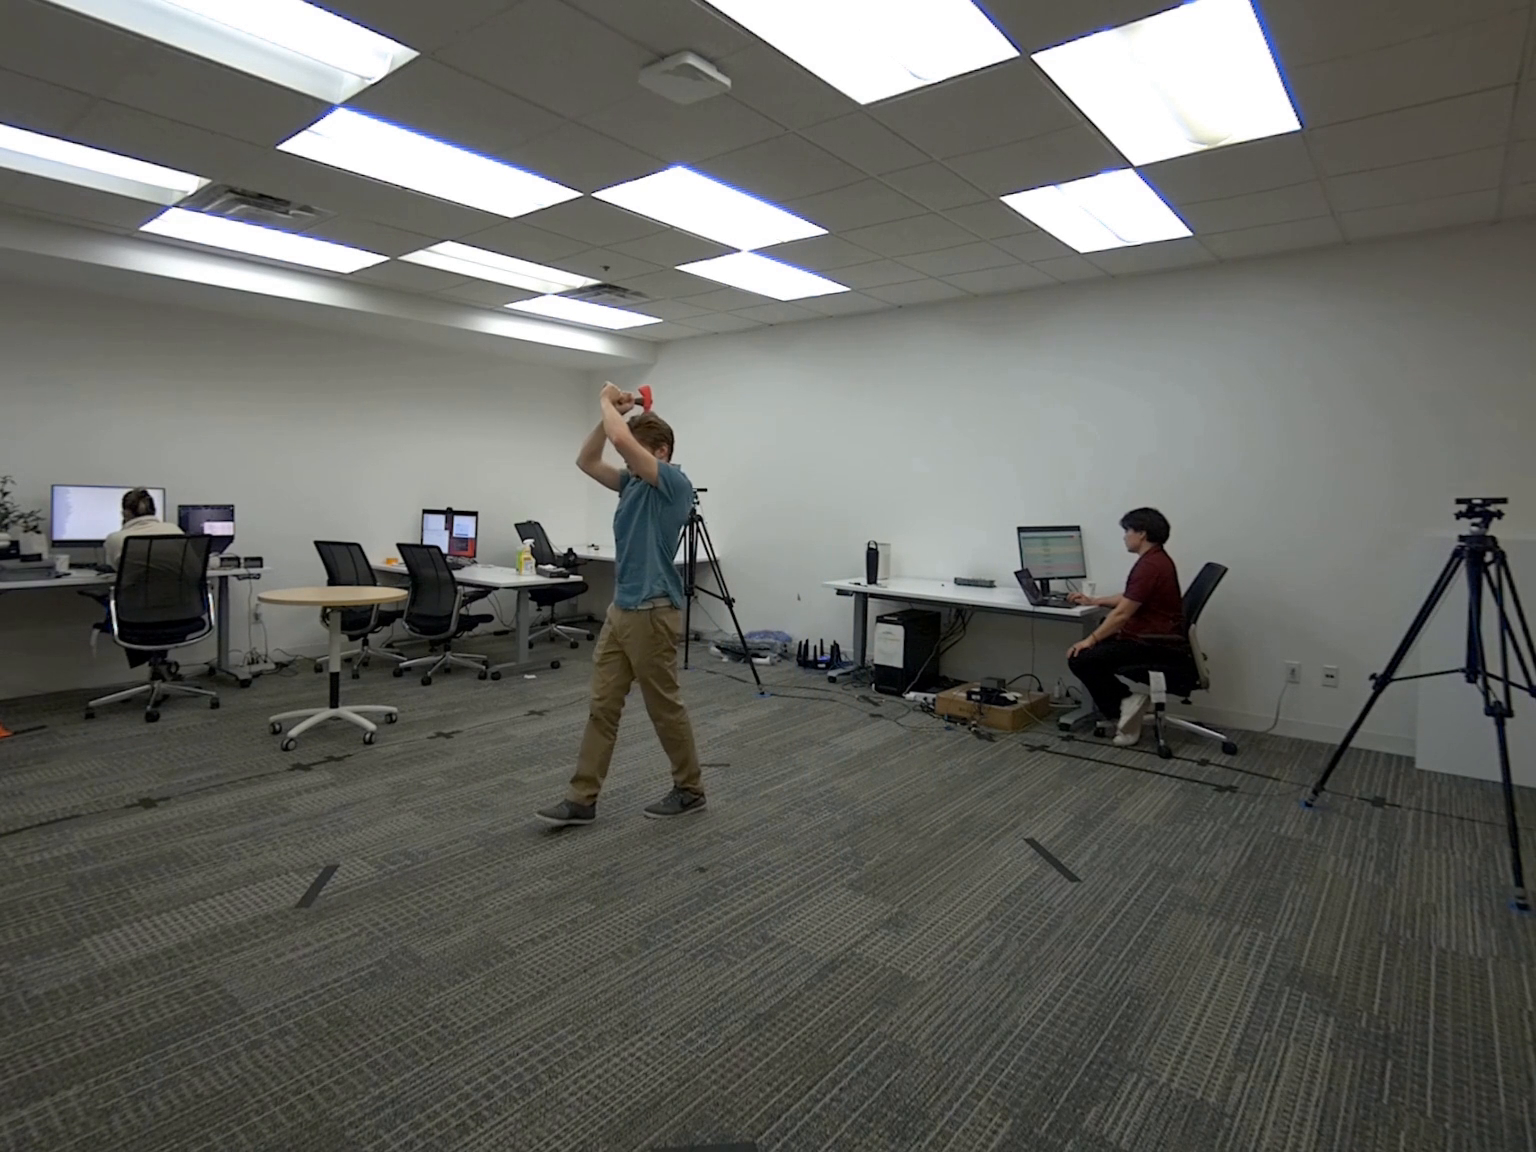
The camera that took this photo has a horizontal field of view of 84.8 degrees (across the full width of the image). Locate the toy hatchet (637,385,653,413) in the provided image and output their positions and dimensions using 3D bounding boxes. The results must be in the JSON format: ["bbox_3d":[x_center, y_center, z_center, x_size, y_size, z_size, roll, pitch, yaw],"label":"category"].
[{"bbox_3d":[-0.598,-0.780,3.574,0.031,0.131,0.259,19,-2,43],"label":"toy hatchet"}]
